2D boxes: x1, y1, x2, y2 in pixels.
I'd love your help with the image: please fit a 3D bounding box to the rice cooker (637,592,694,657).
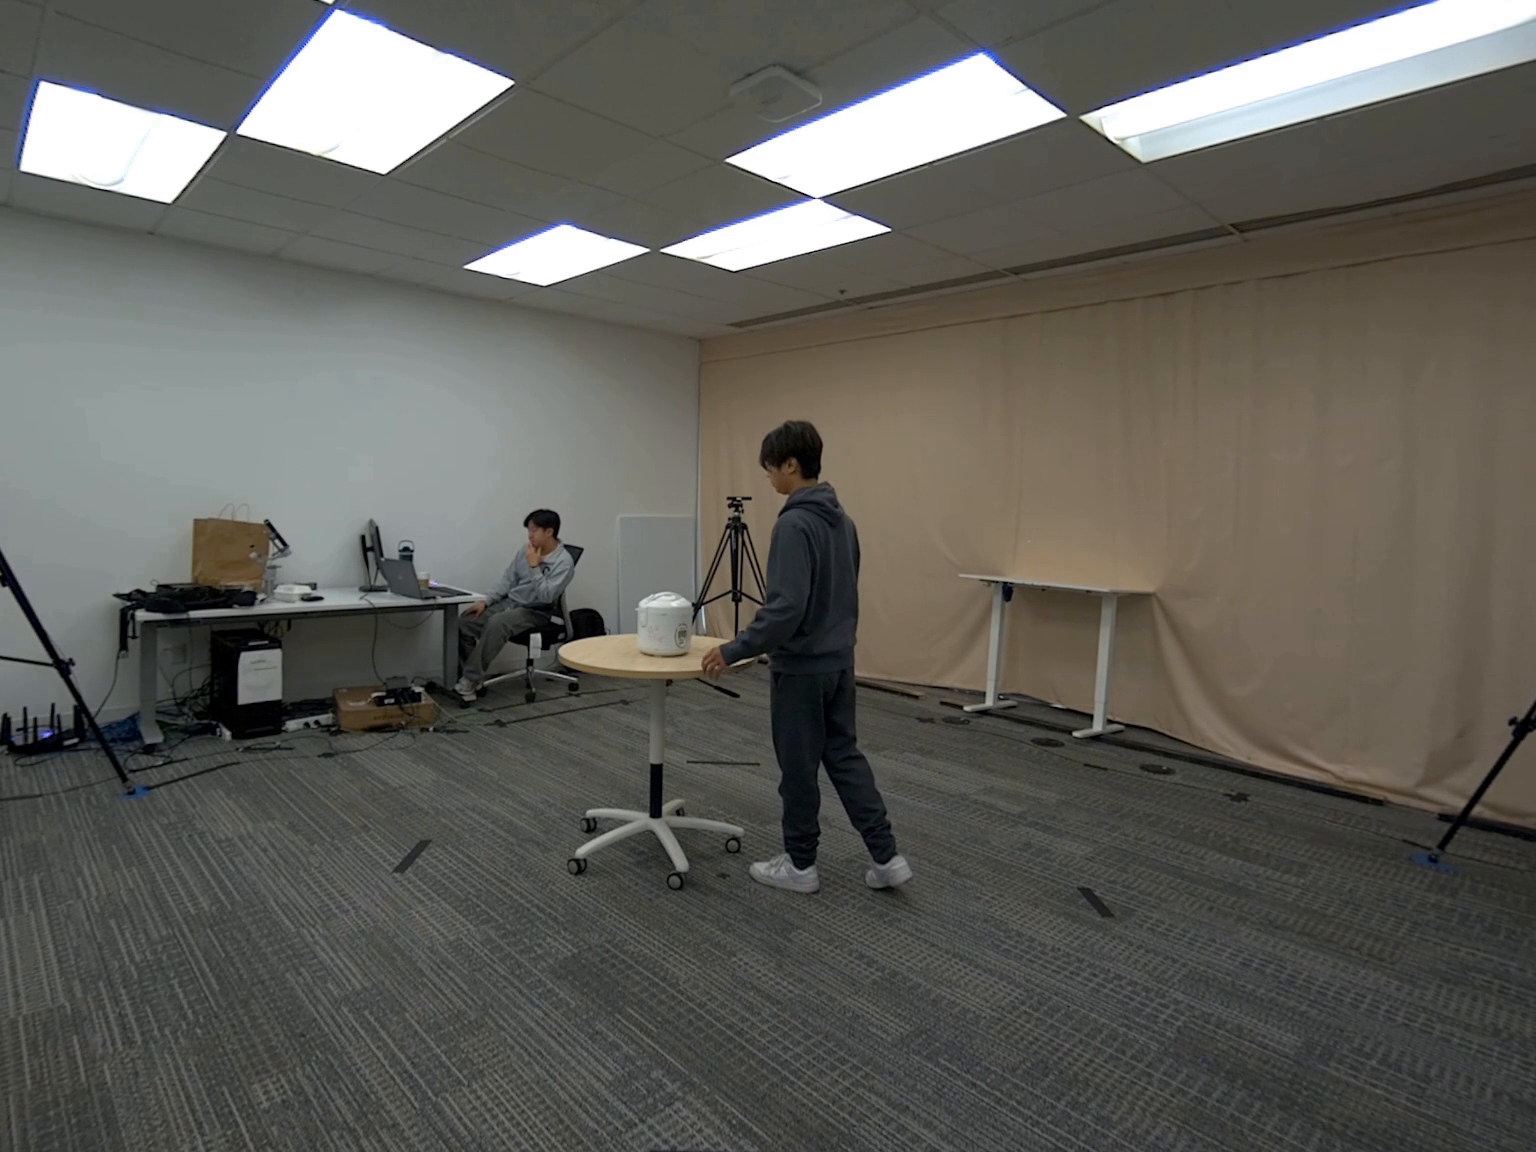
[{"bbox_3d":[-0.394,0.177,3.211,0.215,0.232,0.223,-3,5,-43],"label":"rice cooker"}]
